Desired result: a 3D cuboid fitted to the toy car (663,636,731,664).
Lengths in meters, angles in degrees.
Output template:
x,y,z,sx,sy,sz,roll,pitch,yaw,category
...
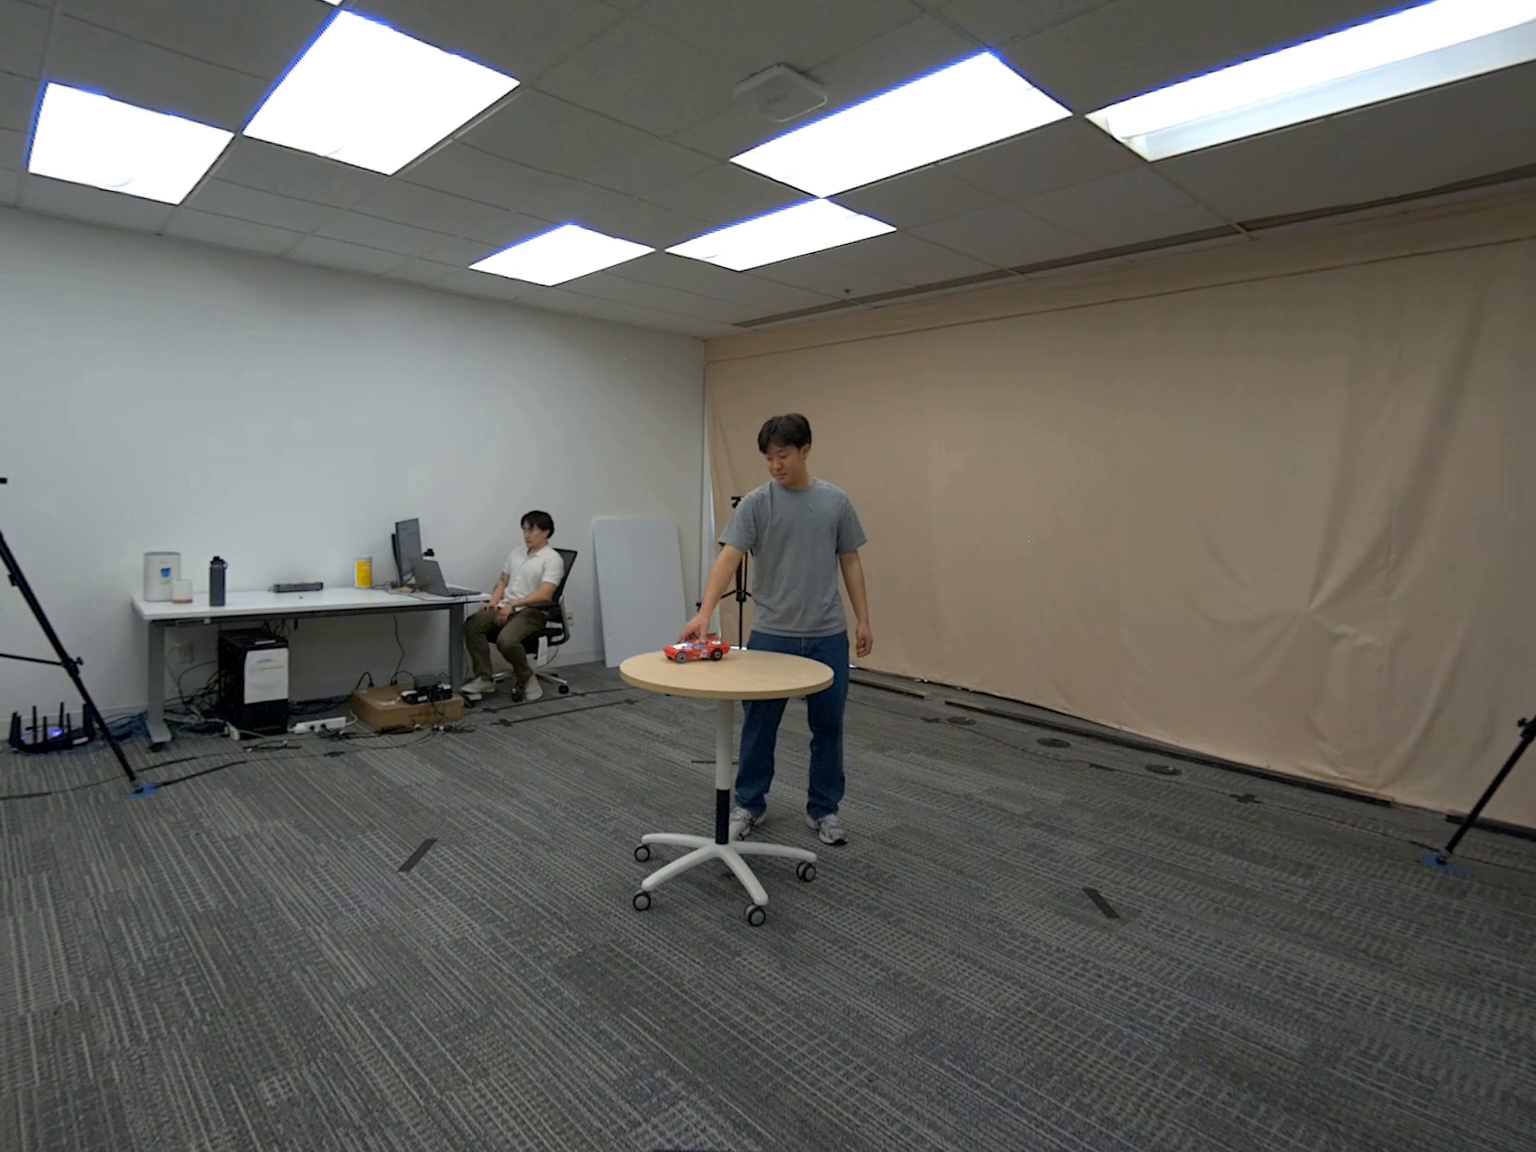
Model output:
x,y,z,sx,sy,sz,roll,pitch,yaw,category
-0.267,0.283,3.156,0.251,0.082,0.133,-13,10,-26,toy car
